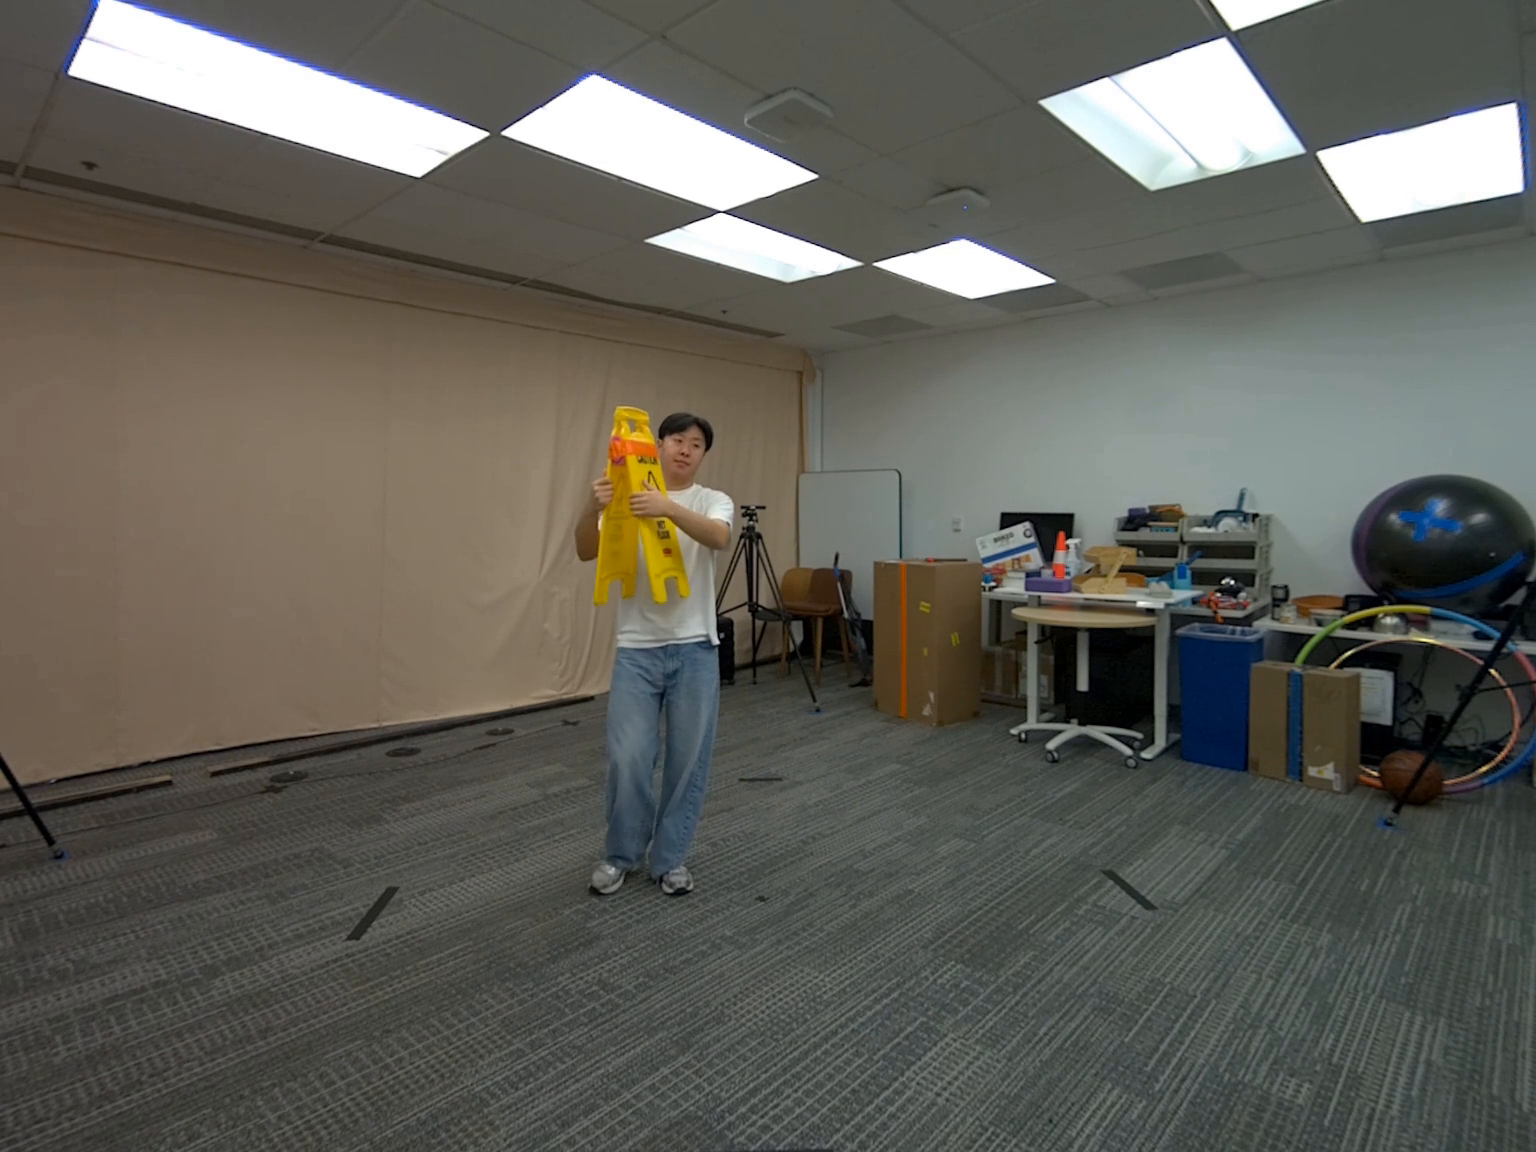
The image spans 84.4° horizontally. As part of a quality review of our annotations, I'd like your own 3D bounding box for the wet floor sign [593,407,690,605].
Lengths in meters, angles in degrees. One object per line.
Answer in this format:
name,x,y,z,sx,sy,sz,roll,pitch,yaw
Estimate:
wet floor sign,-0.441,-0.240,2.857,0.295,0.645,0.277,-2,3,18
